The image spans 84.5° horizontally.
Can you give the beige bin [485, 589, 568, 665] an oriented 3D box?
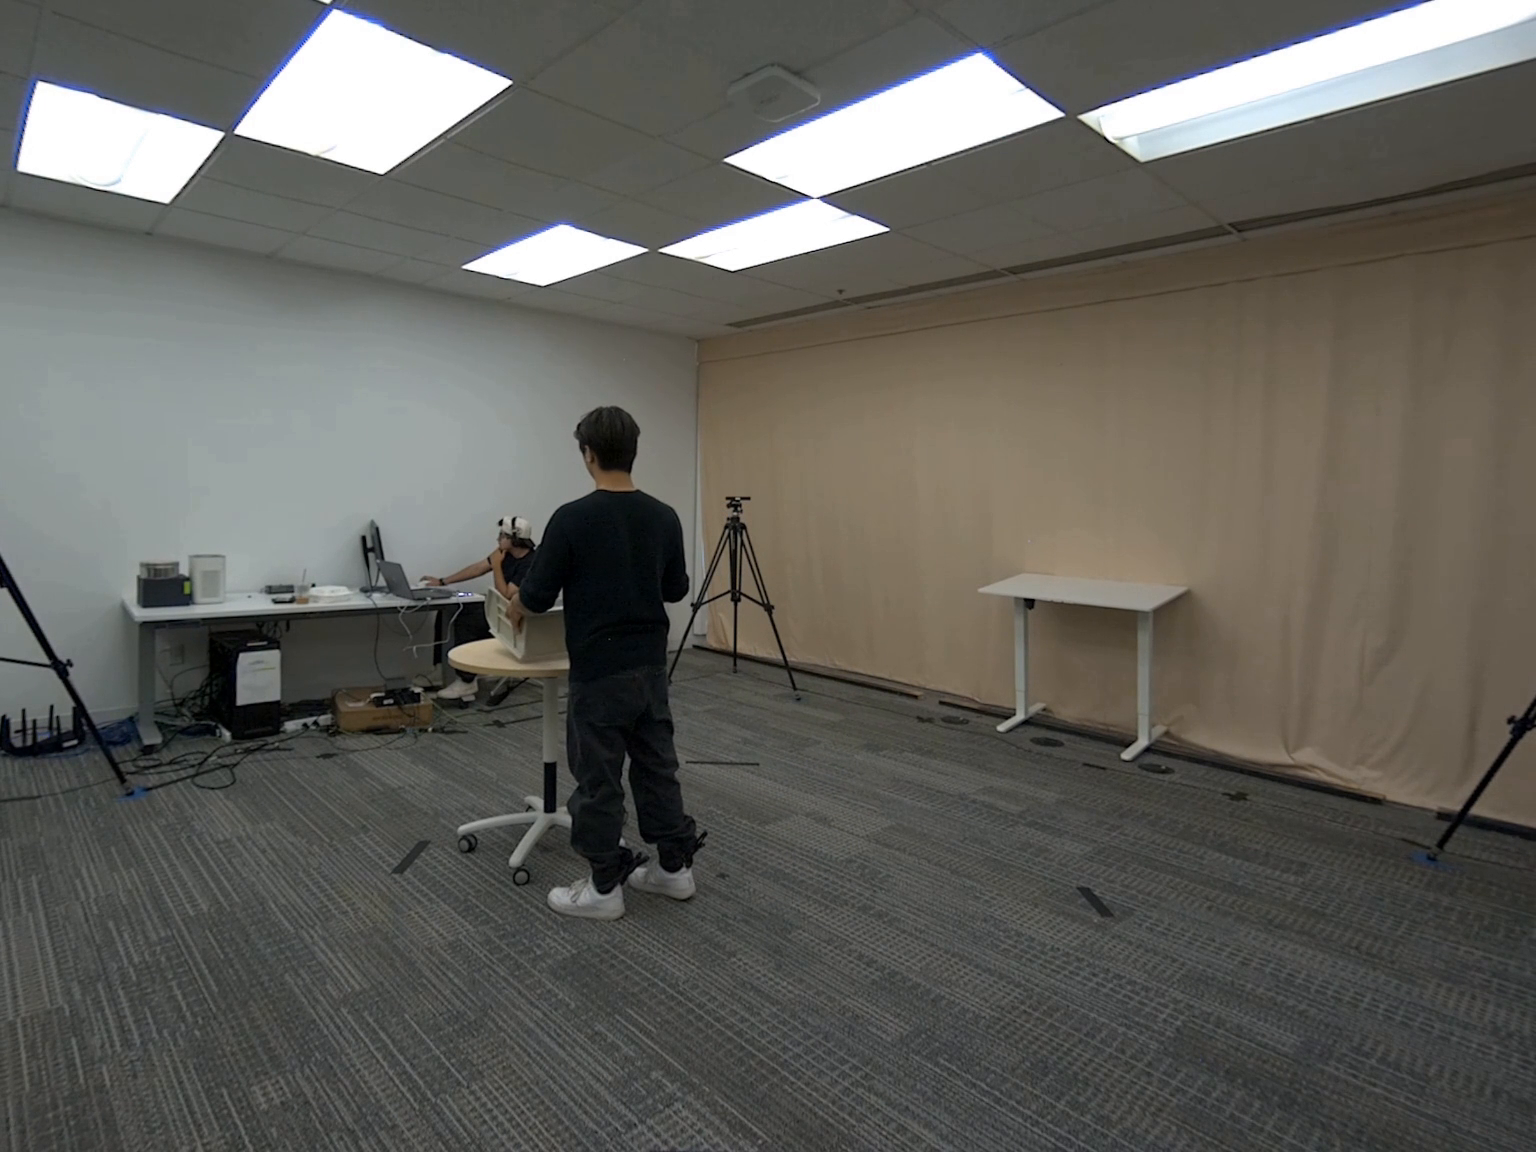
[{"bbox_3d":[-0.819,0.152,3.231,0.413,0.187,0.389,-4,18,-36],"label":"beige bin"}]
